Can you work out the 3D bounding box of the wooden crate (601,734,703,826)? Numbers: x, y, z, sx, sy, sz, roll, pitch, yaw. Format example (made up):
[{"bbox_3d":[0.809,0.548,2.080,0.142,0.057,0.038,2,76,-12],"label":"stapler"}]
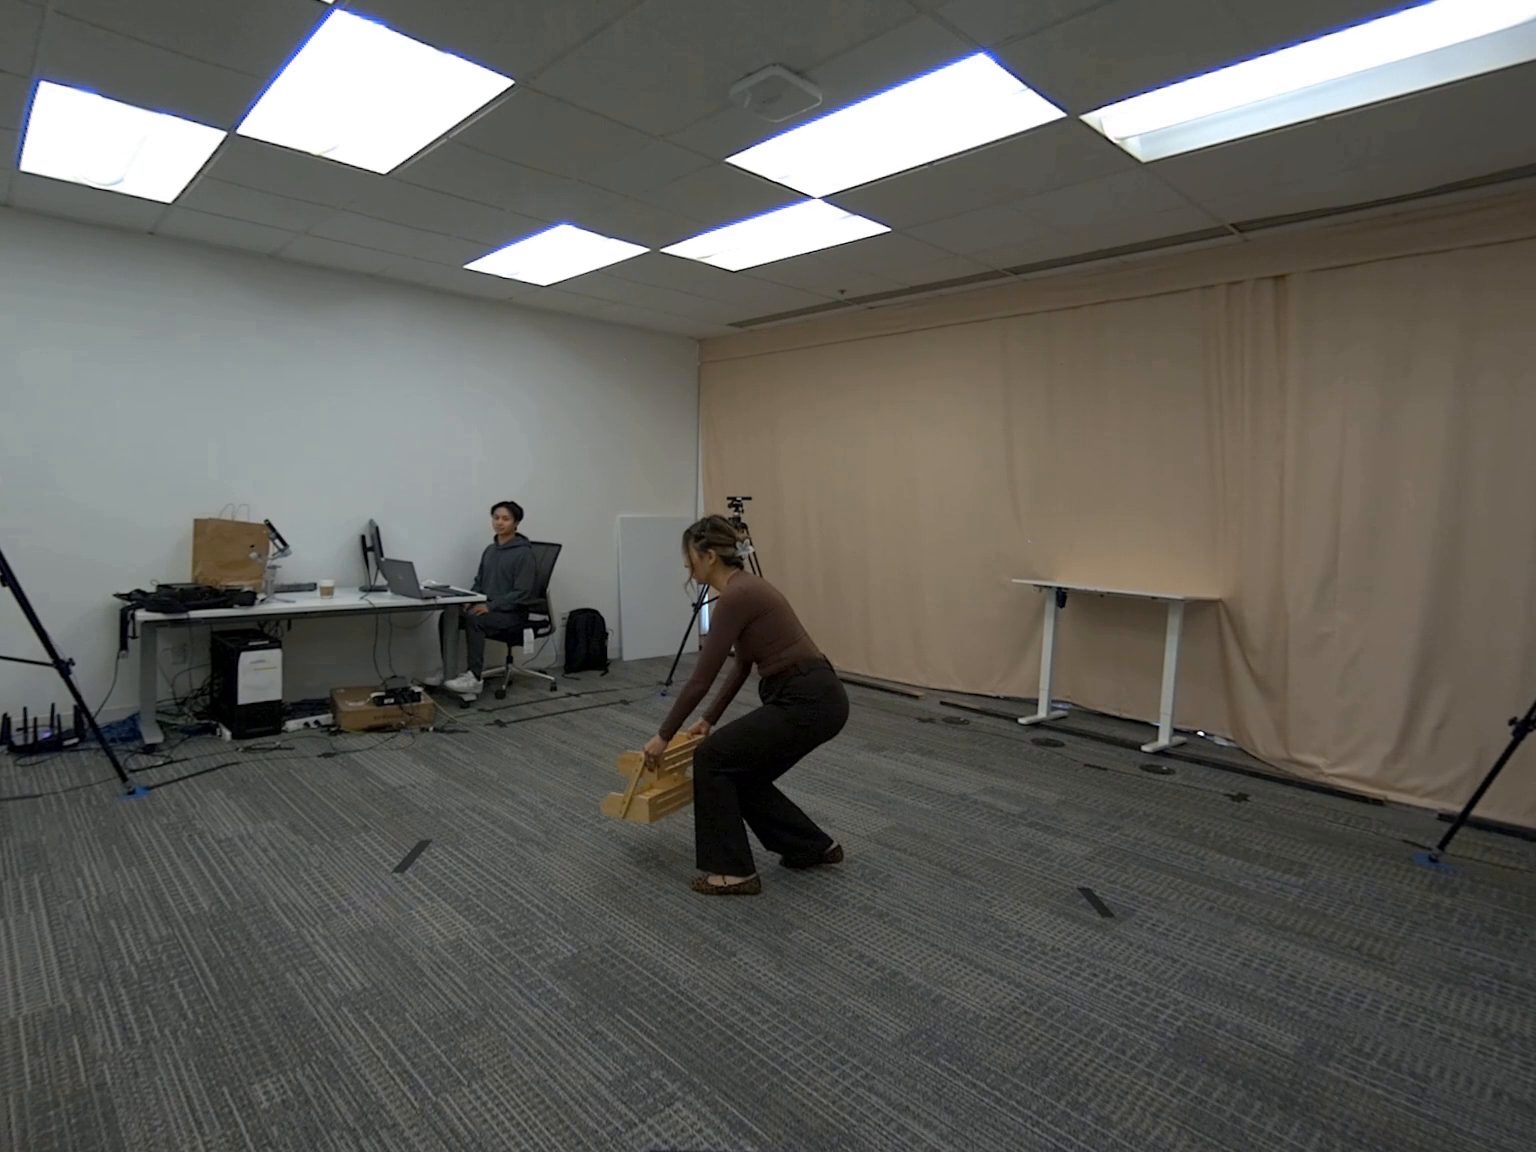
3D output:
[{"bbox_3d":[-0.446,0.754,3.237,0.308,0.273,0.318,-1,3,33],"label":"wooden crate"}]
